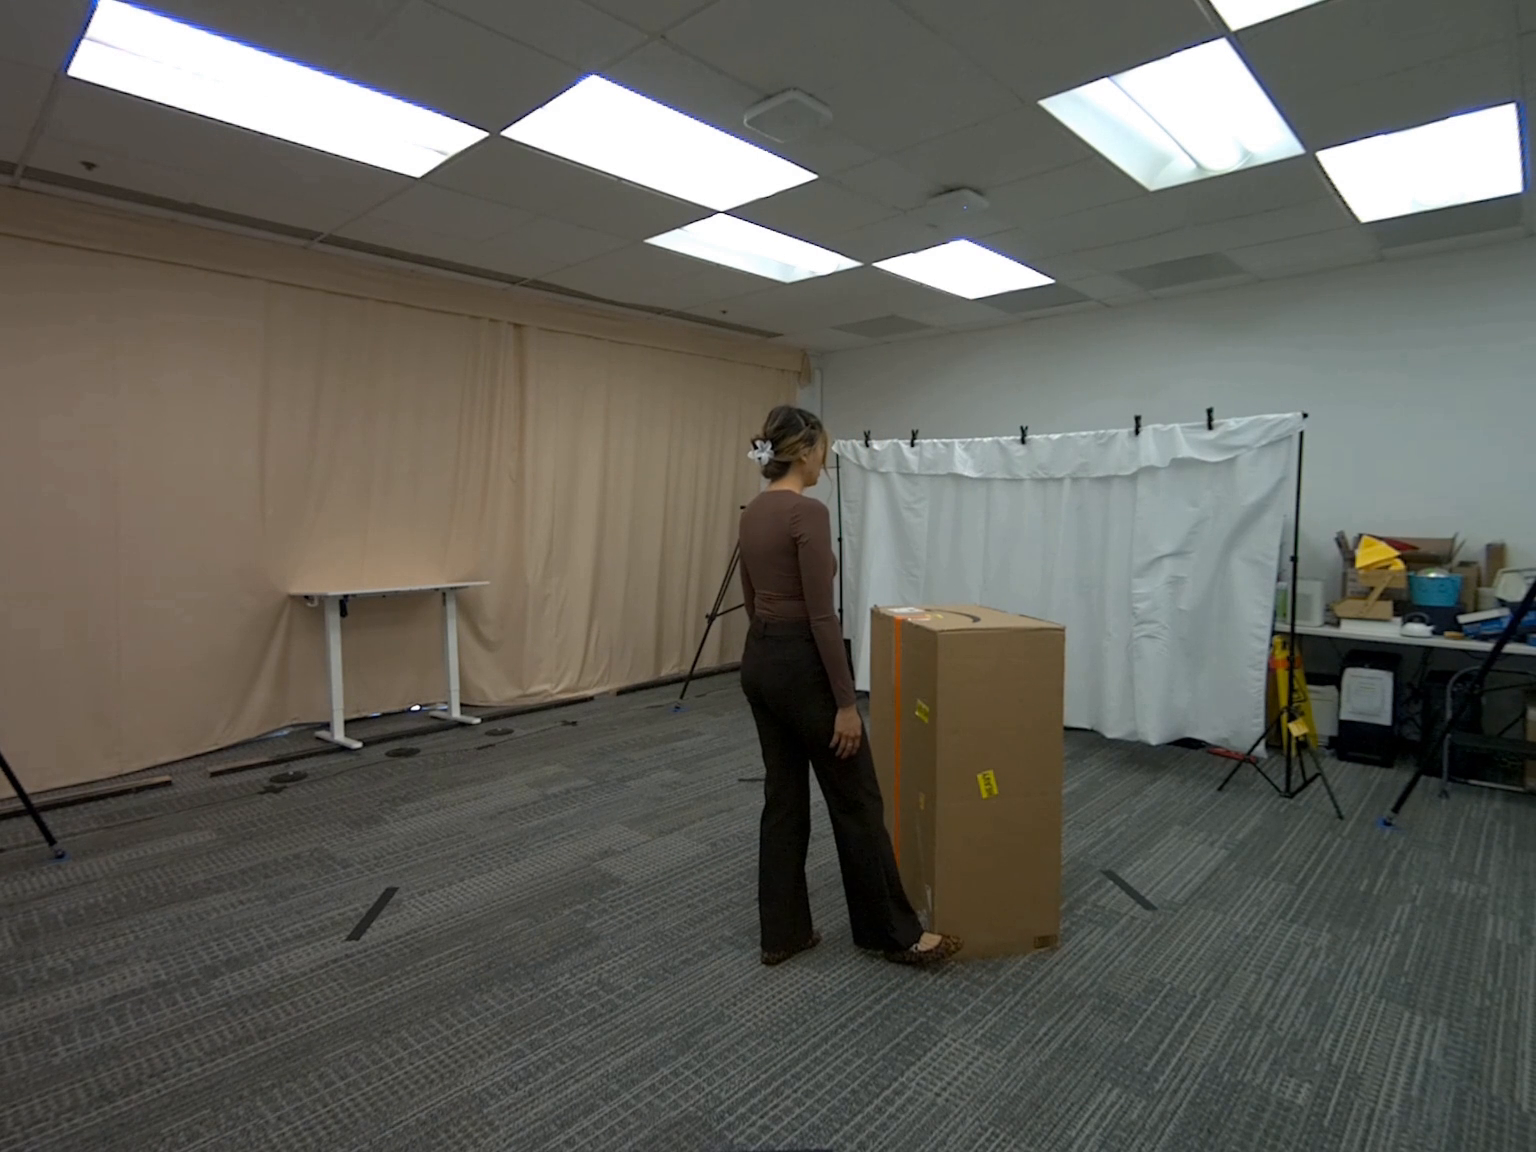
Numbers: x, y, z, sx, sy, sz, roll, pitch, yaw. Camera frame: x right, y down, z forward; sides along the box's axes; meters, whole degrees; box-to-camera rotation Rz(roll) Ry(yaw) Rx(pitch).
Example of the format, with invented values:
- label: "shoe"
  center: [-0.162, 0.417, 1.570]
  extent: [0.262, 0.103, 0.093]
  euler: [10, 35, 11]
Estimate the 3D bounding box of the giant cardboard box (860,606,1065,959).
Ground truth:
- label: "giant cardboard box"
  center: [0.651, 0.638, 2.856]
  extent: [0.442, 1.025, 0.592]
  euler: [0, 3, -12]
